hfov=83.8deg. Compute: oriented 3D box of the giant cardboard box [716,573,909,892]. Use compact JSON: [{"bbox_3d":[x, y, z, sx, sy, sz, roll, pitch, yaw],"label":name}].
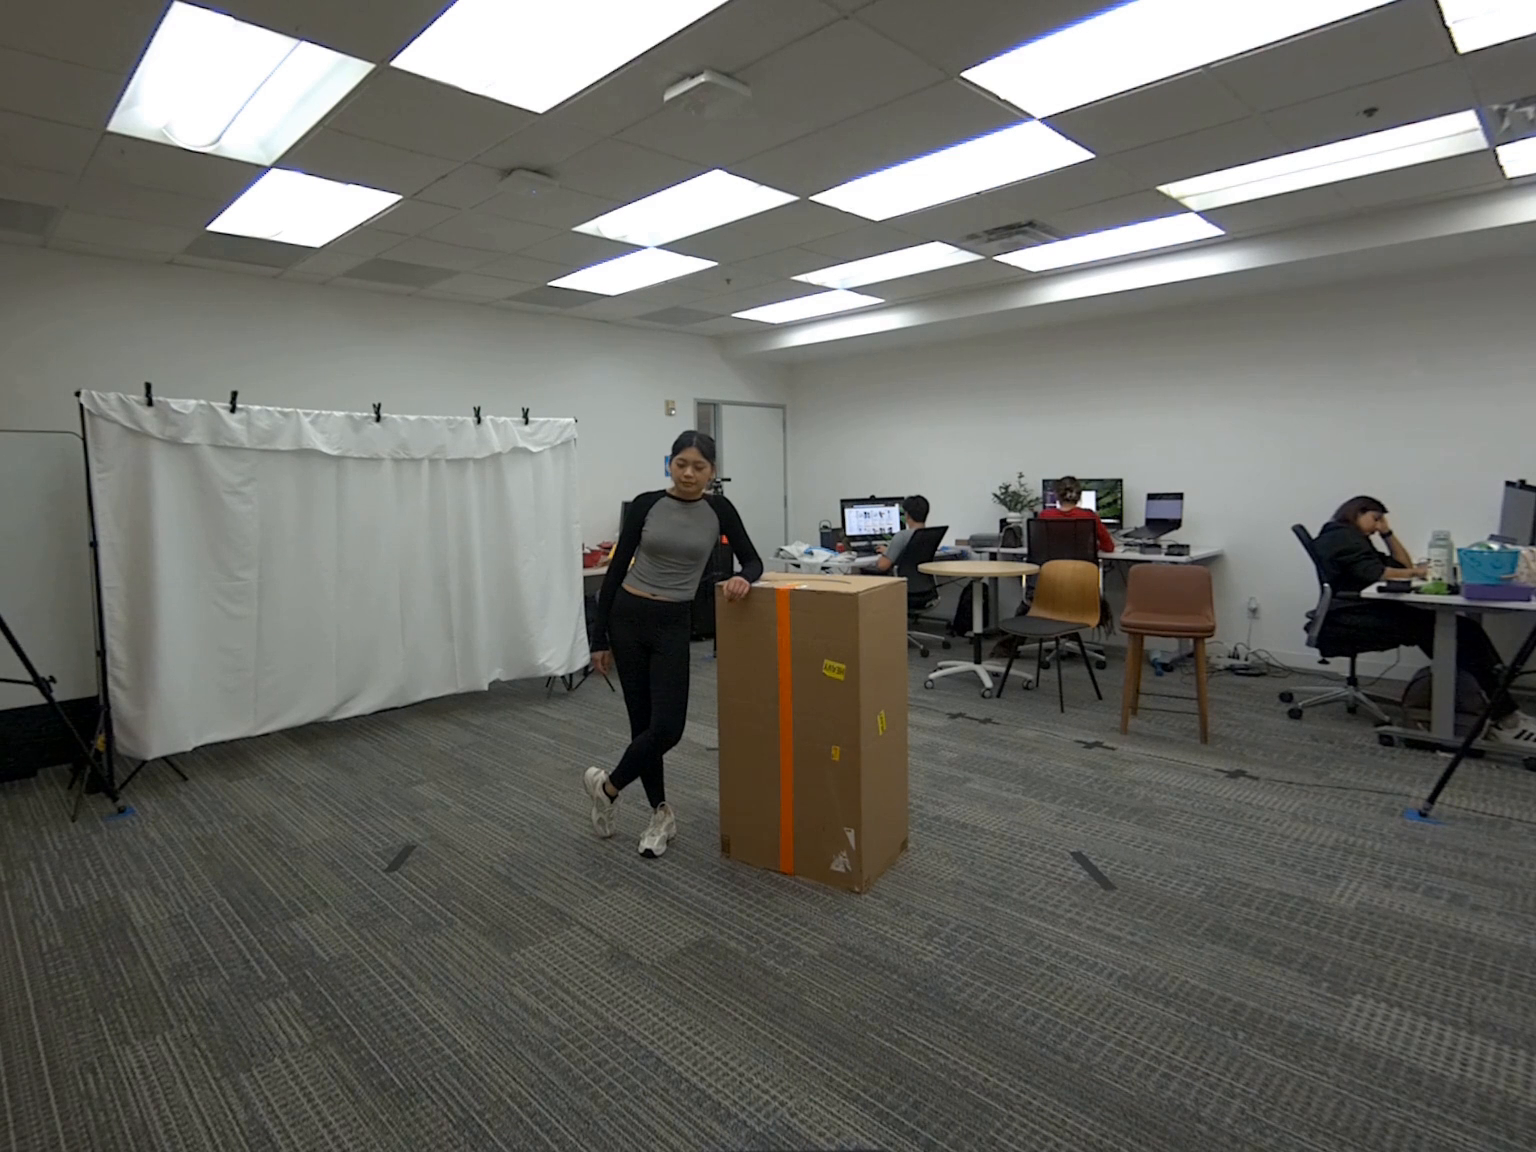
[{"bbox_3d":[0.169,0.525,3.150,0.593,1.022,0.416,1,5,34],"label":"giant cardboard box"}]
